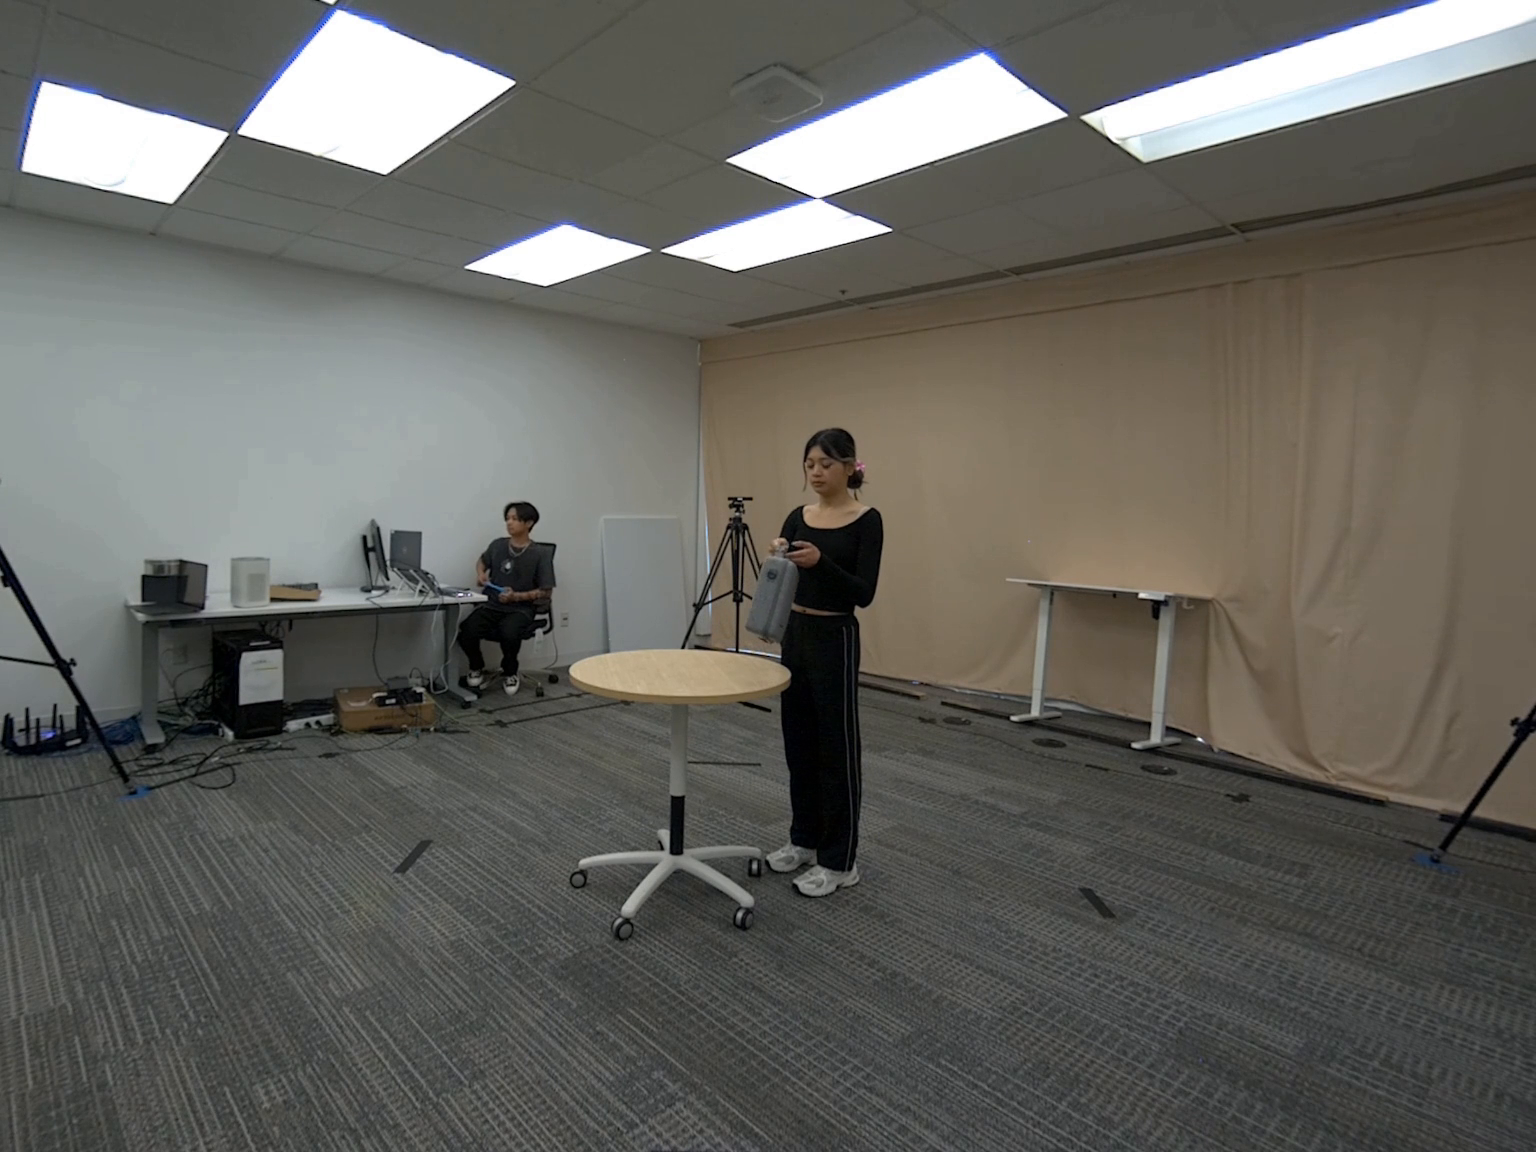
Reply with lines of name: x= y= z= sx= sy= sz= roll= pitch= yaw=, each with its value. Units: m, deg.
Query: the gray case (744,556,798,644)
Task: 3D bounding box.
gray case: x=0.017 y=0.079 z=2.685 sx=0.105 sy=0.262 sz=0.253 roll=10 pitch=-9 yaw=7
